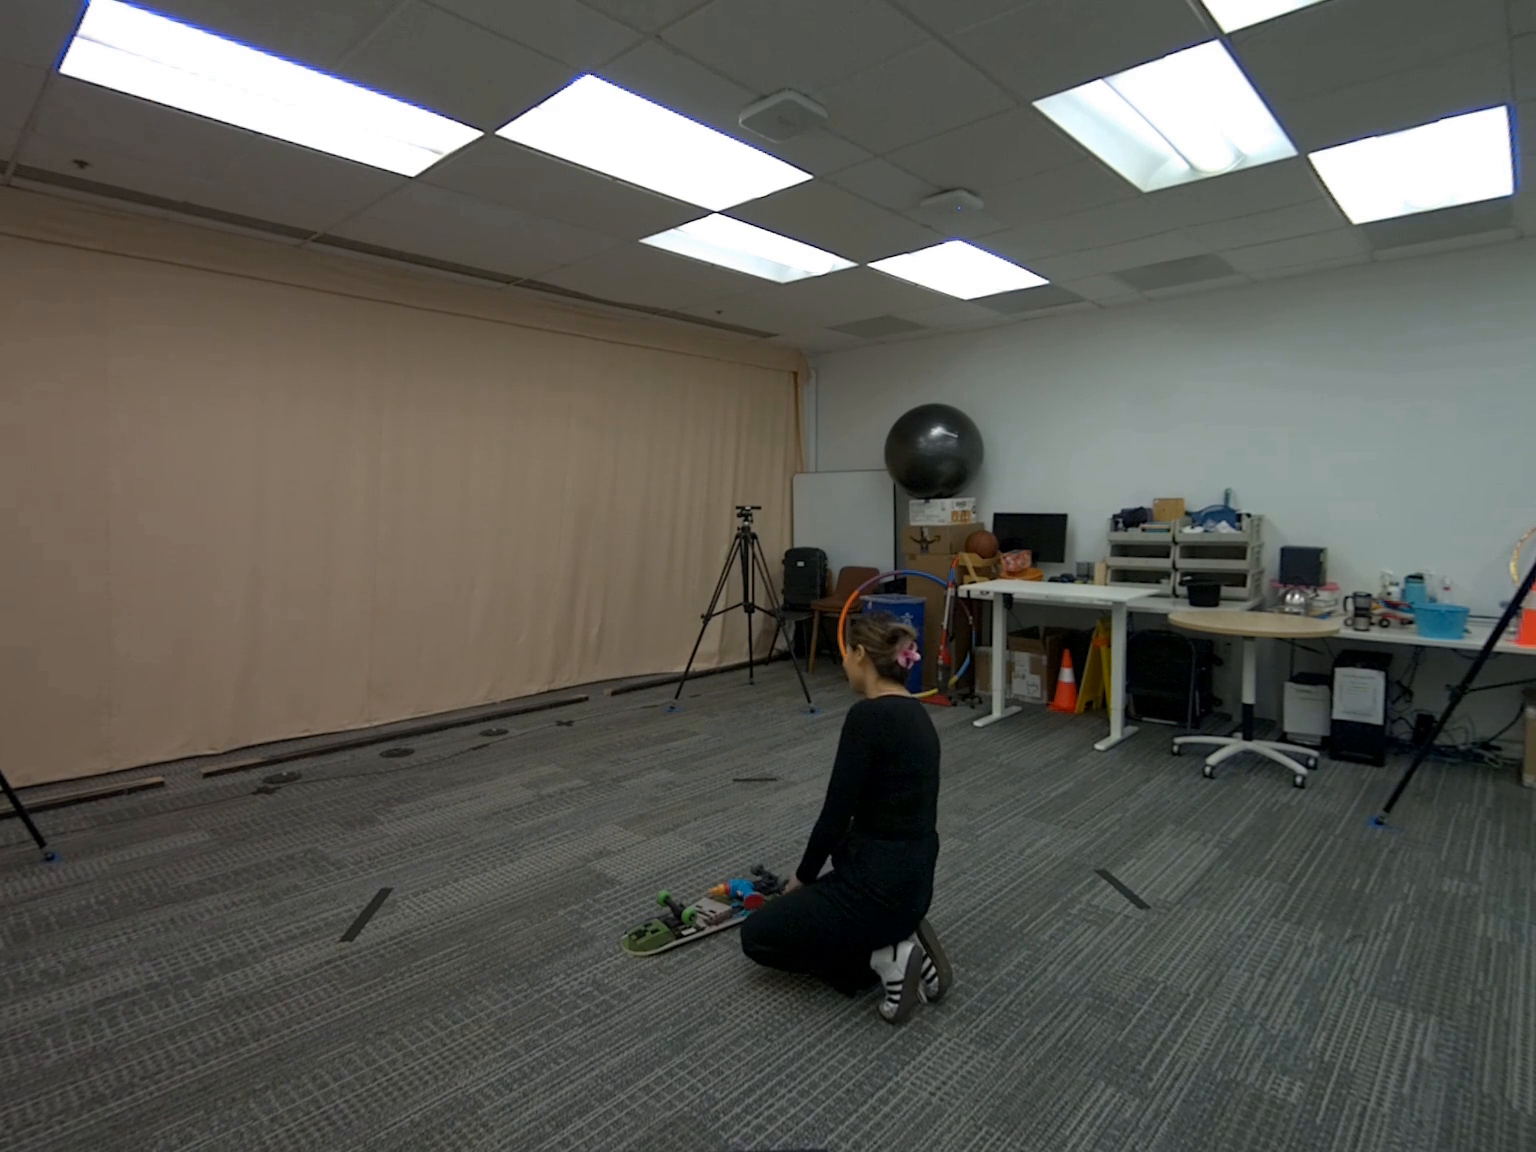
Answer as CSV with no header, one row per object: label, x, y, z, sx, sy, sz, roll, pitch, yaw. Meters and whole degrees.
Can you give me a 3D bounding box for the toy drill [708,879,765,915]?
toy drill,-0.110,1.091,2.892,0.165,0.061,0.150,4,4,-25
